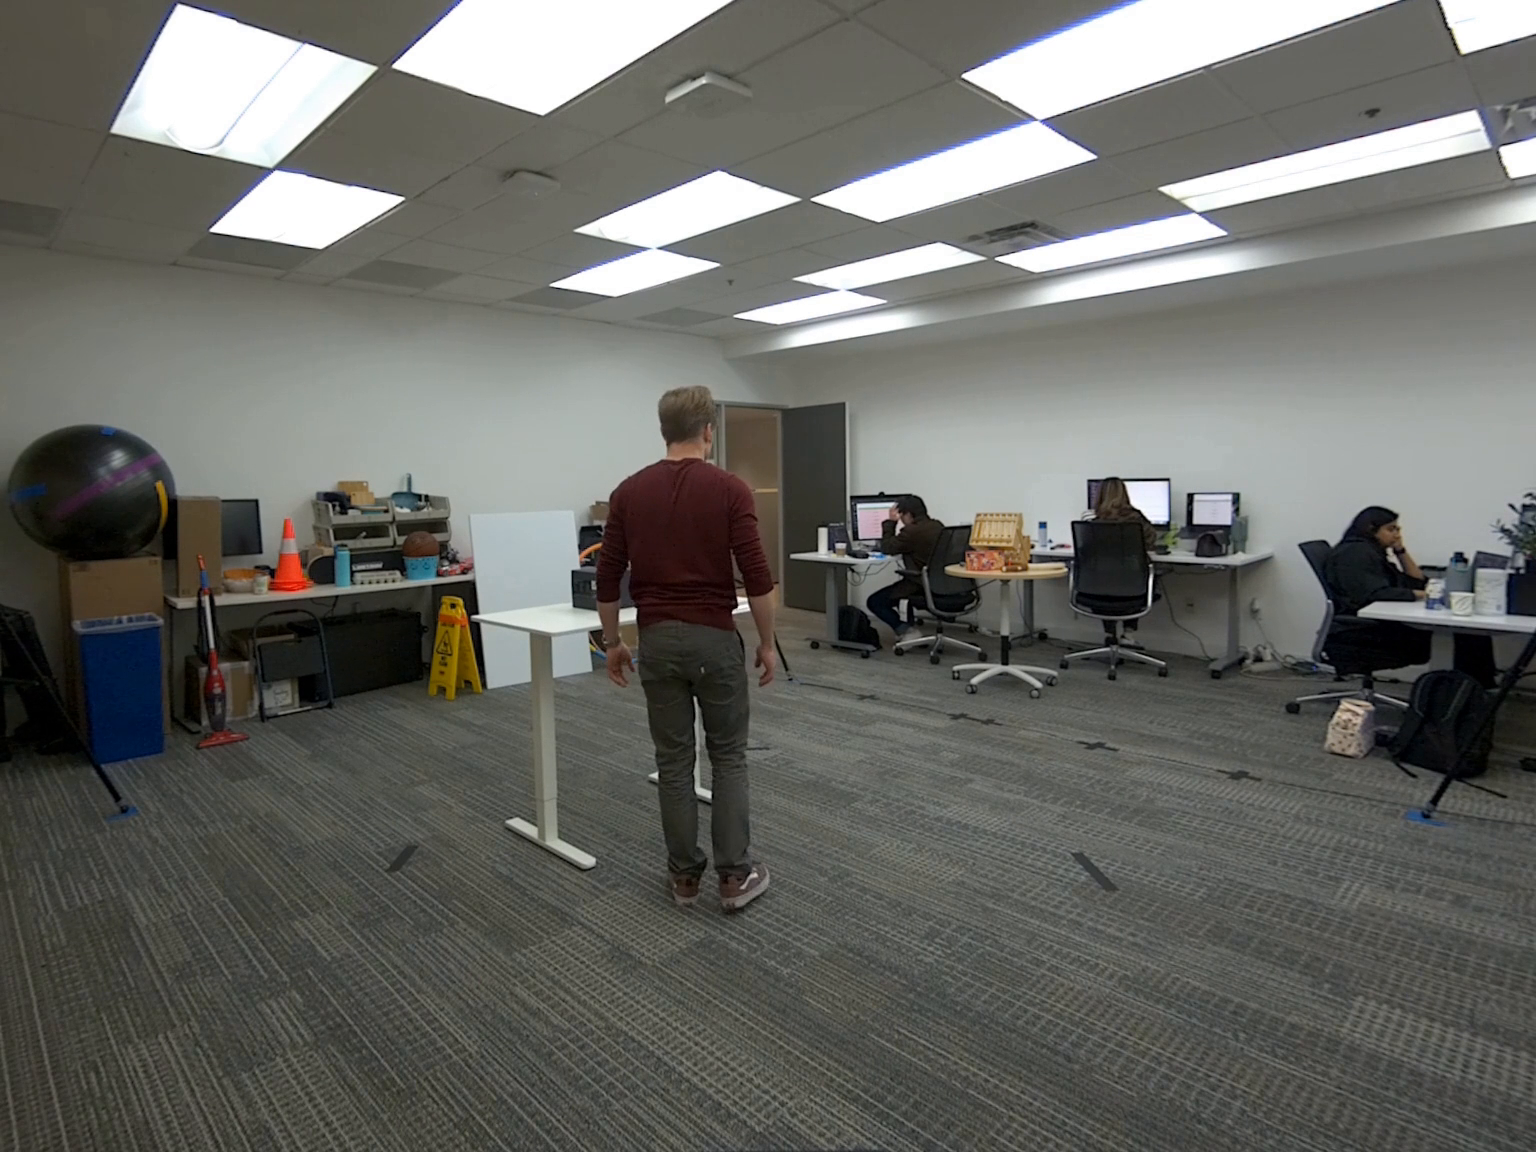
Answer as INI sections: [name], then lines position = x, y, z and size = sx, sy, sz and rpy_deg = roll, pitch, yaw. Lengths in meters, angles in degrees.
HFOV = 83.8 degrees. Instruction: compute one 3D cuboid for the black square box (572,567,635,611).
[black square box]
position = -0.650, 0.046, 3.533
size = 0.223, 0.155, 0.222
rpy_deg = 3, 7, 45
